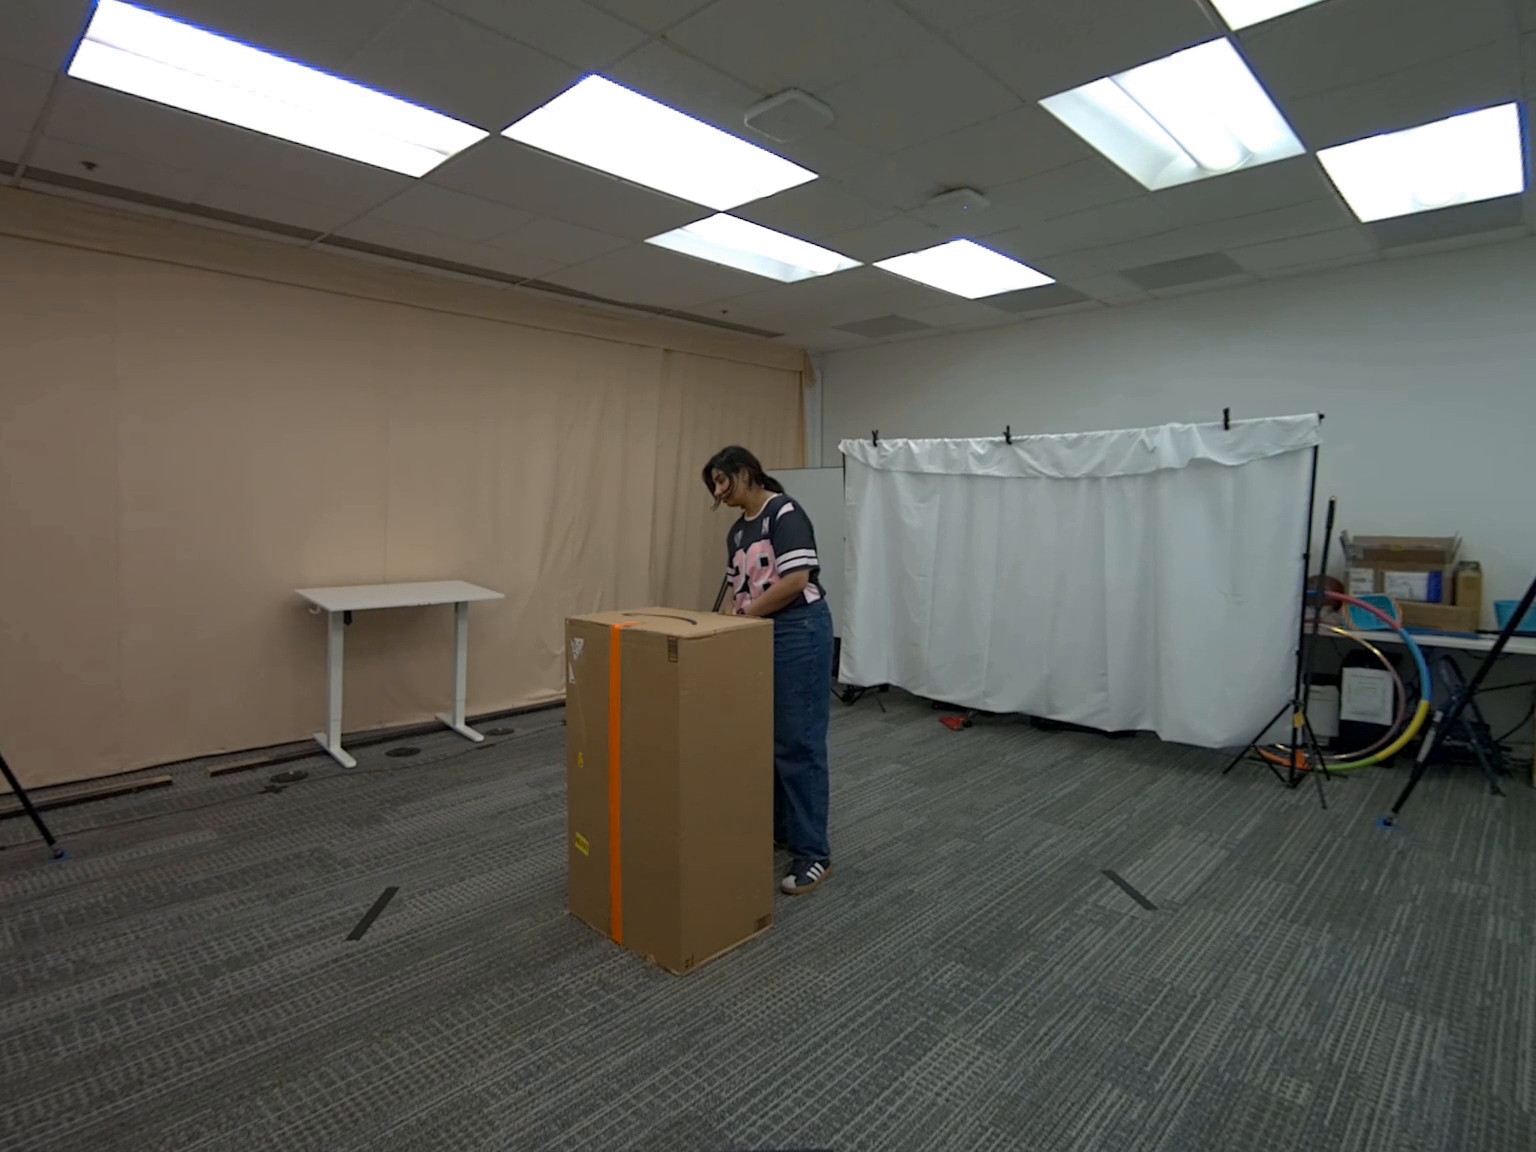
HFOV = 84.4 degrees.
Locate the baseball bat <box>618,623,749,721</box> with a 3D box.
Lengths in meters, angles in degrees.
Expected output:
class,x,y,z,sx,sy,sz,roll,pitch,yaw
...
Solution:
class,x,y,z,sx,sy,sz,roll,pitch,yaw
baseball bat,-0.333,0.372,3.316,0.545,0.089,0.089,-33,0,7
